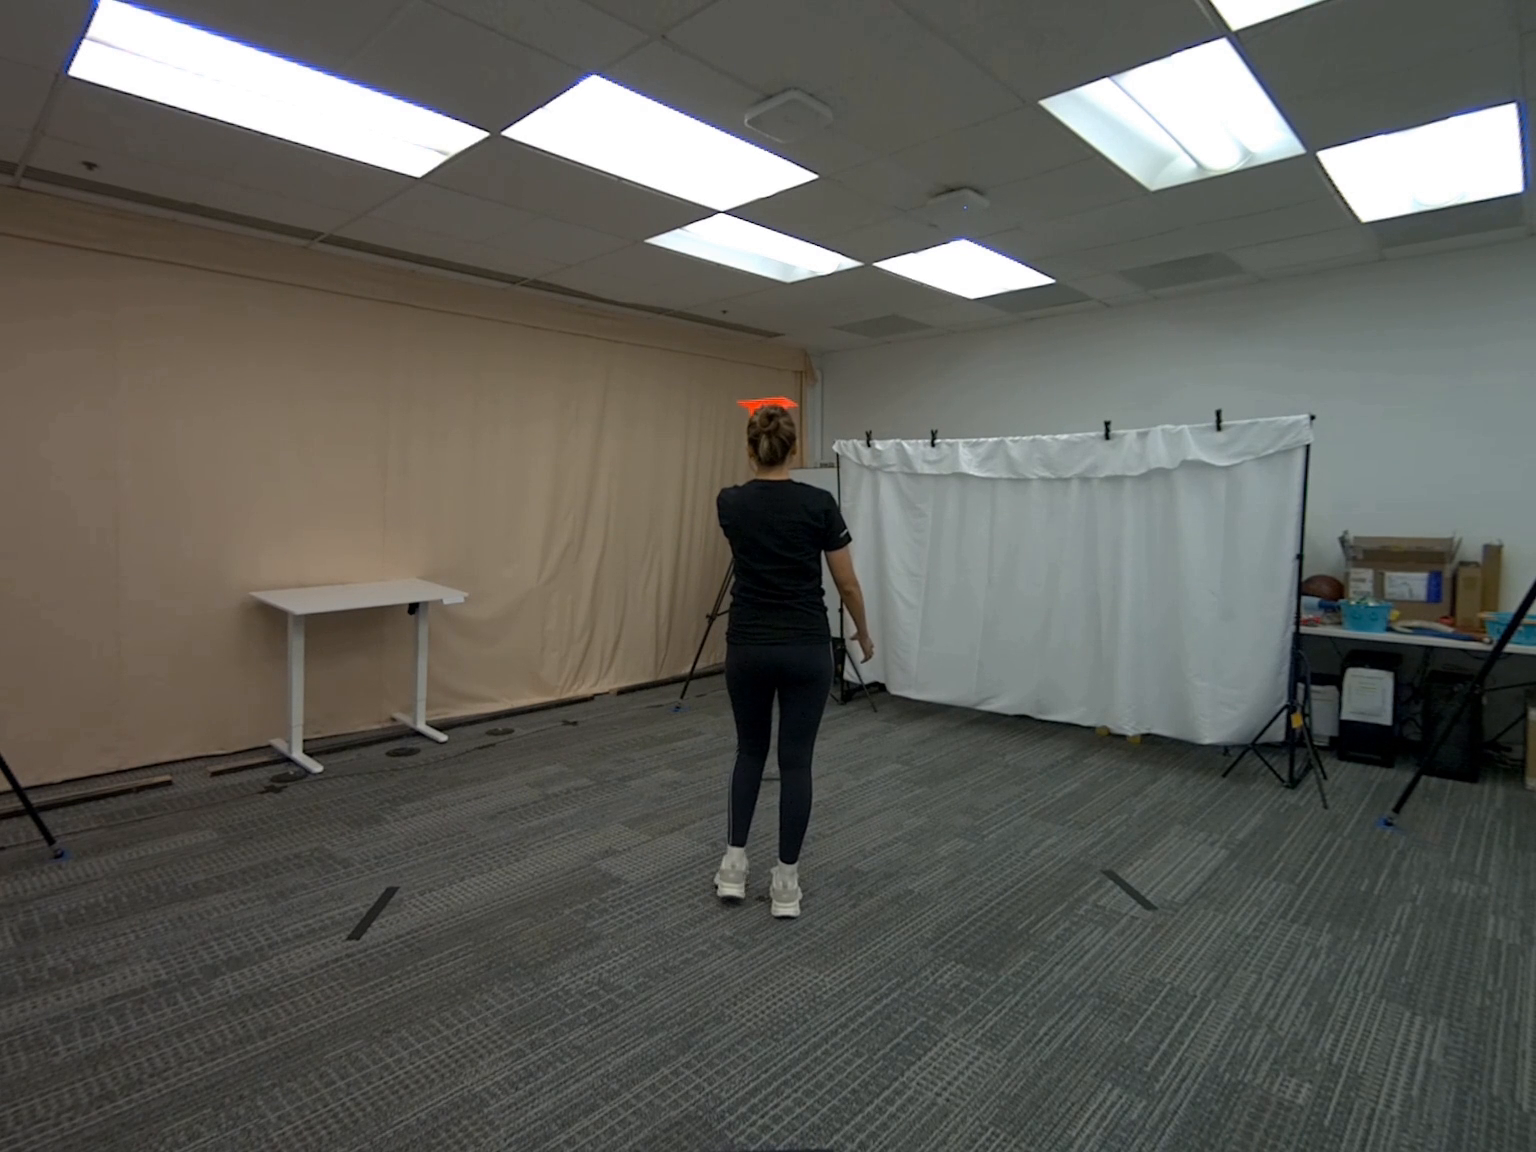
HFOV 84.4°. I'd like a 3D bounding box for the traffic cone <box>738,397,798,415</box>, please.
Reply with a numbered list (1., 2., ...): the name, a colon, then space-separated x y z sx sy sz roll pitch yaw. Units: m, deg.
1. traffic cone: 0.008 -0.515 3.431 0.208 0.383 0.200 -1 2 26
